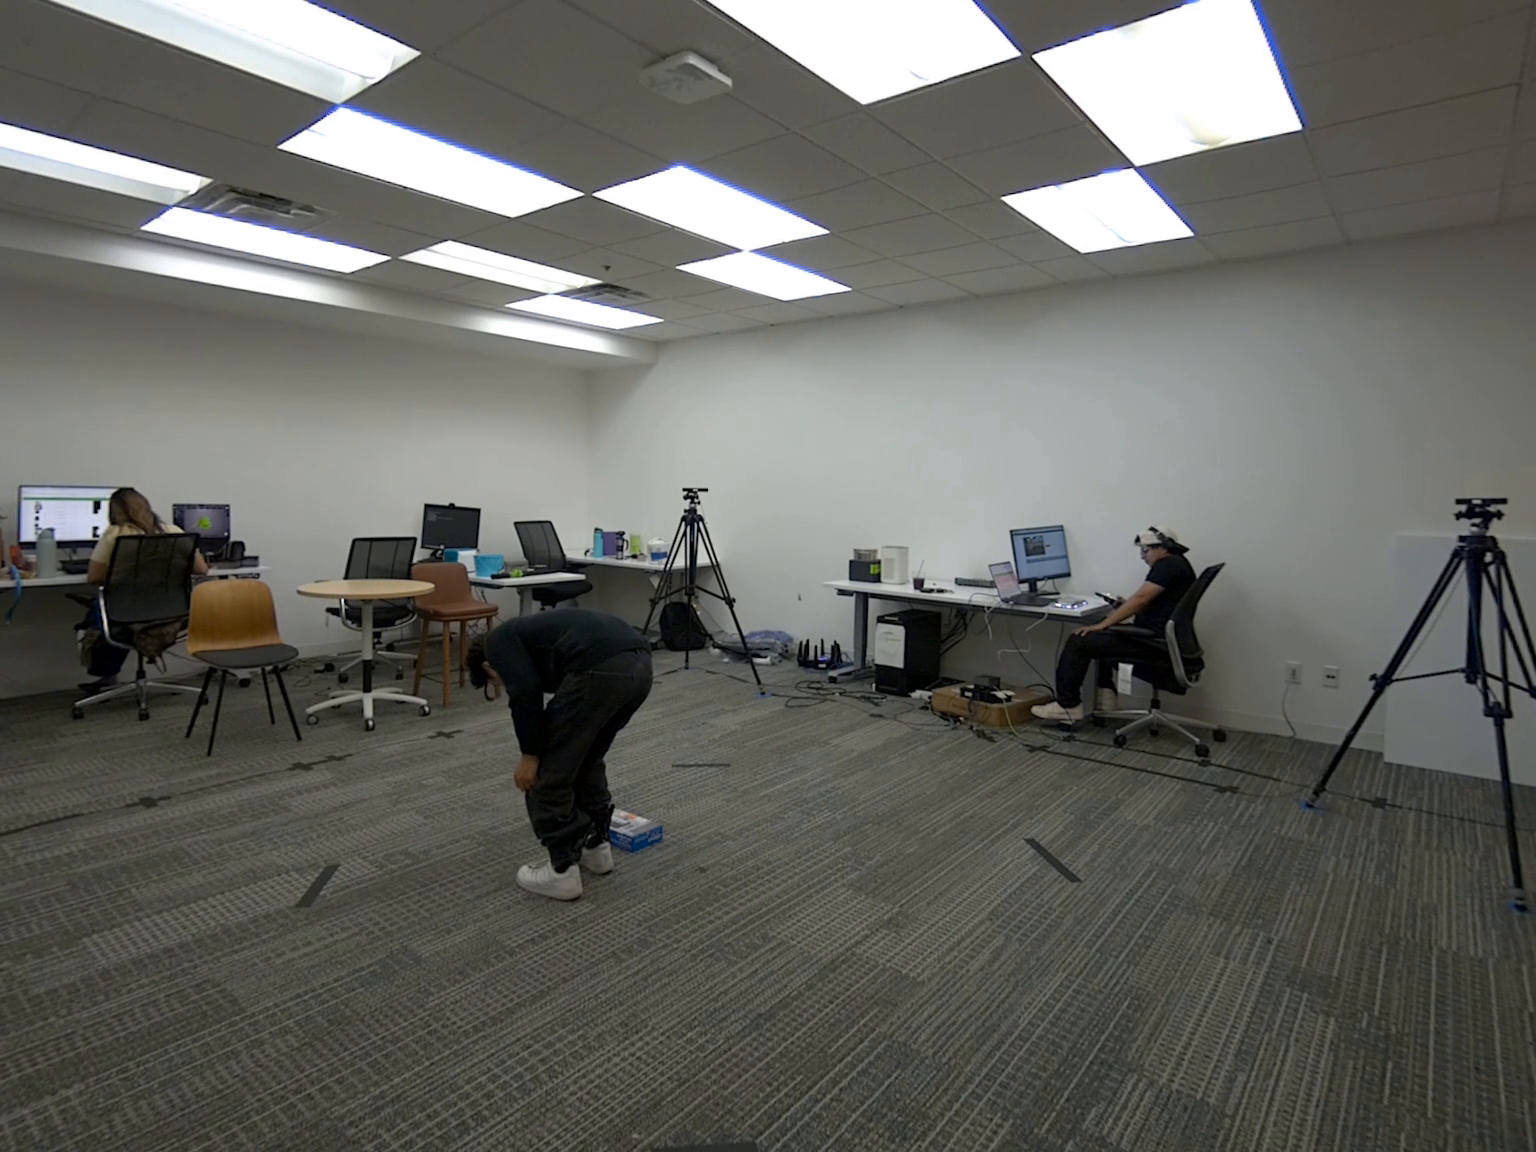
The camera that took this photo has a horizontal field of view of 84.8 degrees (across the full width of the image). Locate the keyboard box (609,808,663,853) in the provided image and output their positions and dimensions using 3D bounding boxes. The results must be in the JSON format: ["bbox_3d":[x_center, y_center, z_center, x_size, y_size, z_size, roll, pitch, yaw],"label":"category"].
[{"bbox_3d":[-0.651,0.999,3.443,0.451,0.059,0.171,5,6,38],"label":"keyboard box"}]
